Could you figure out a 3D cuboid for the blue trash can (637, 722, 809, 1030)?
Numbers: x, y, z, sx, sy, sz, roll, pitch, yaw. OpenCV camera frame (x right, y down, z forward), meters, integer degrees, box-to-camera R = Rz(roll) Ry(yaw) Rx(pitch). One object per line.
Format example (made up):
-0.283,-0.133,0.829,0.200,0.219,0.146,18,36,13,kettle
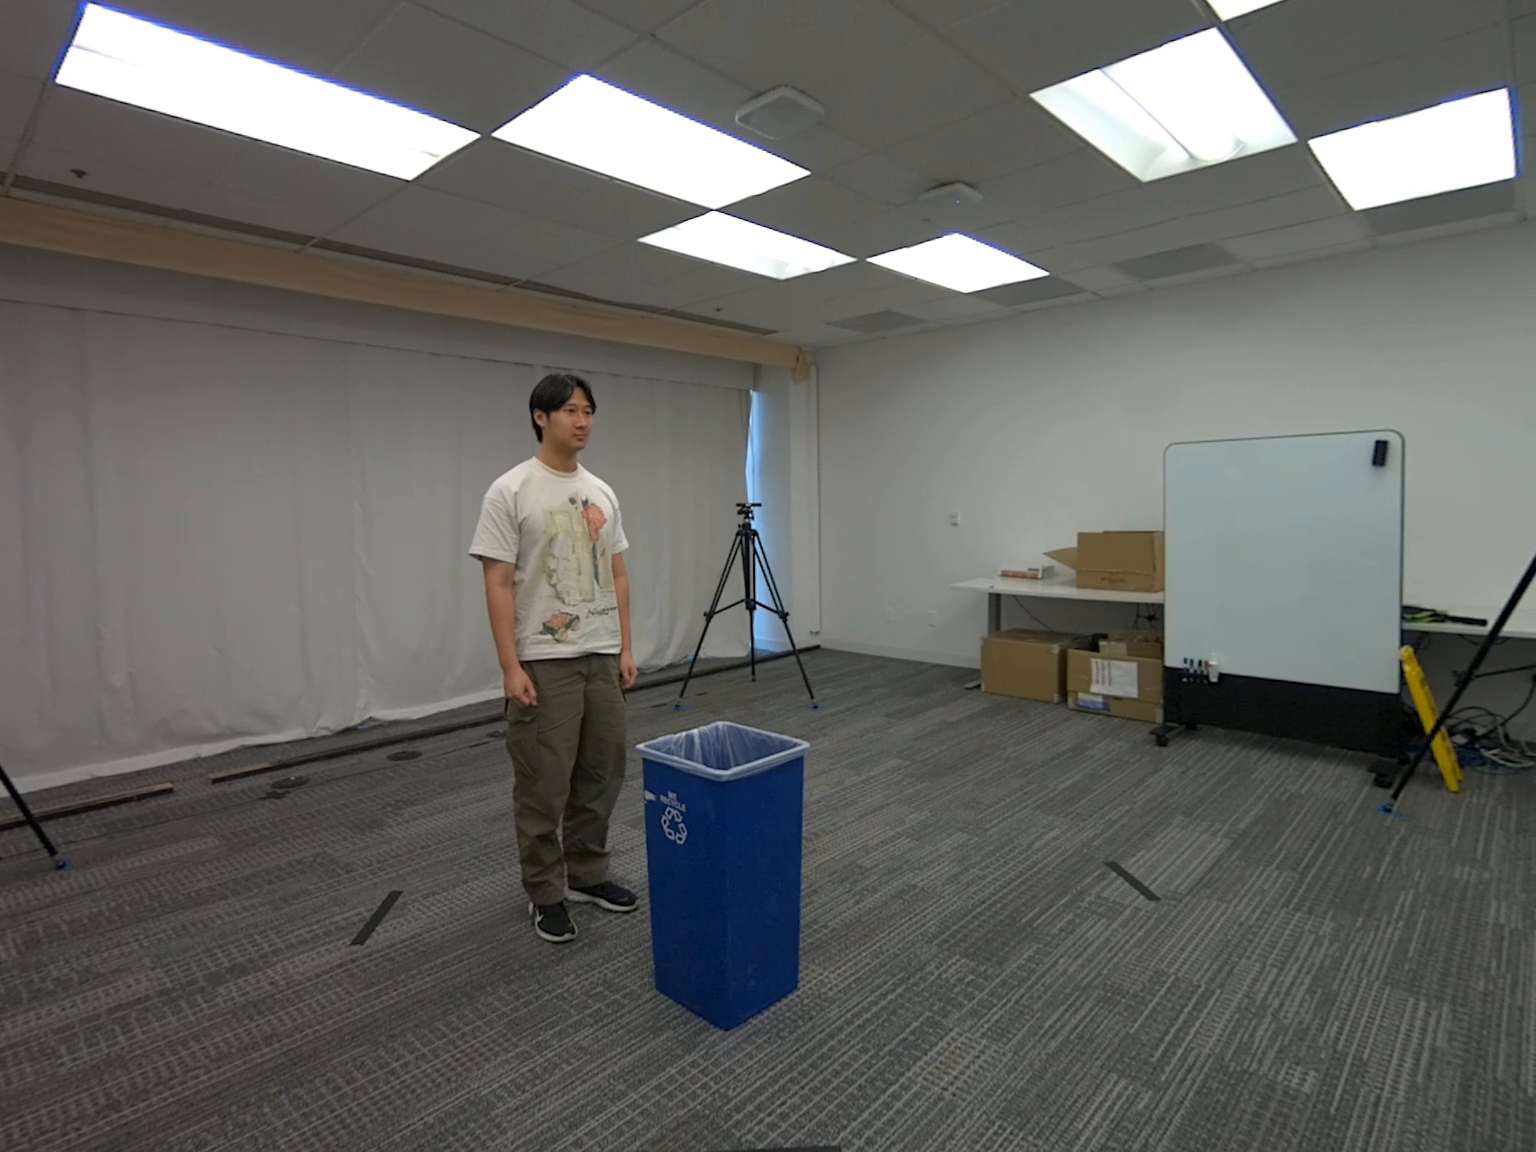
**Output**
-0.113,0.833,2.400,0.386,0.712,0.366,2,5,44,blue trash can
